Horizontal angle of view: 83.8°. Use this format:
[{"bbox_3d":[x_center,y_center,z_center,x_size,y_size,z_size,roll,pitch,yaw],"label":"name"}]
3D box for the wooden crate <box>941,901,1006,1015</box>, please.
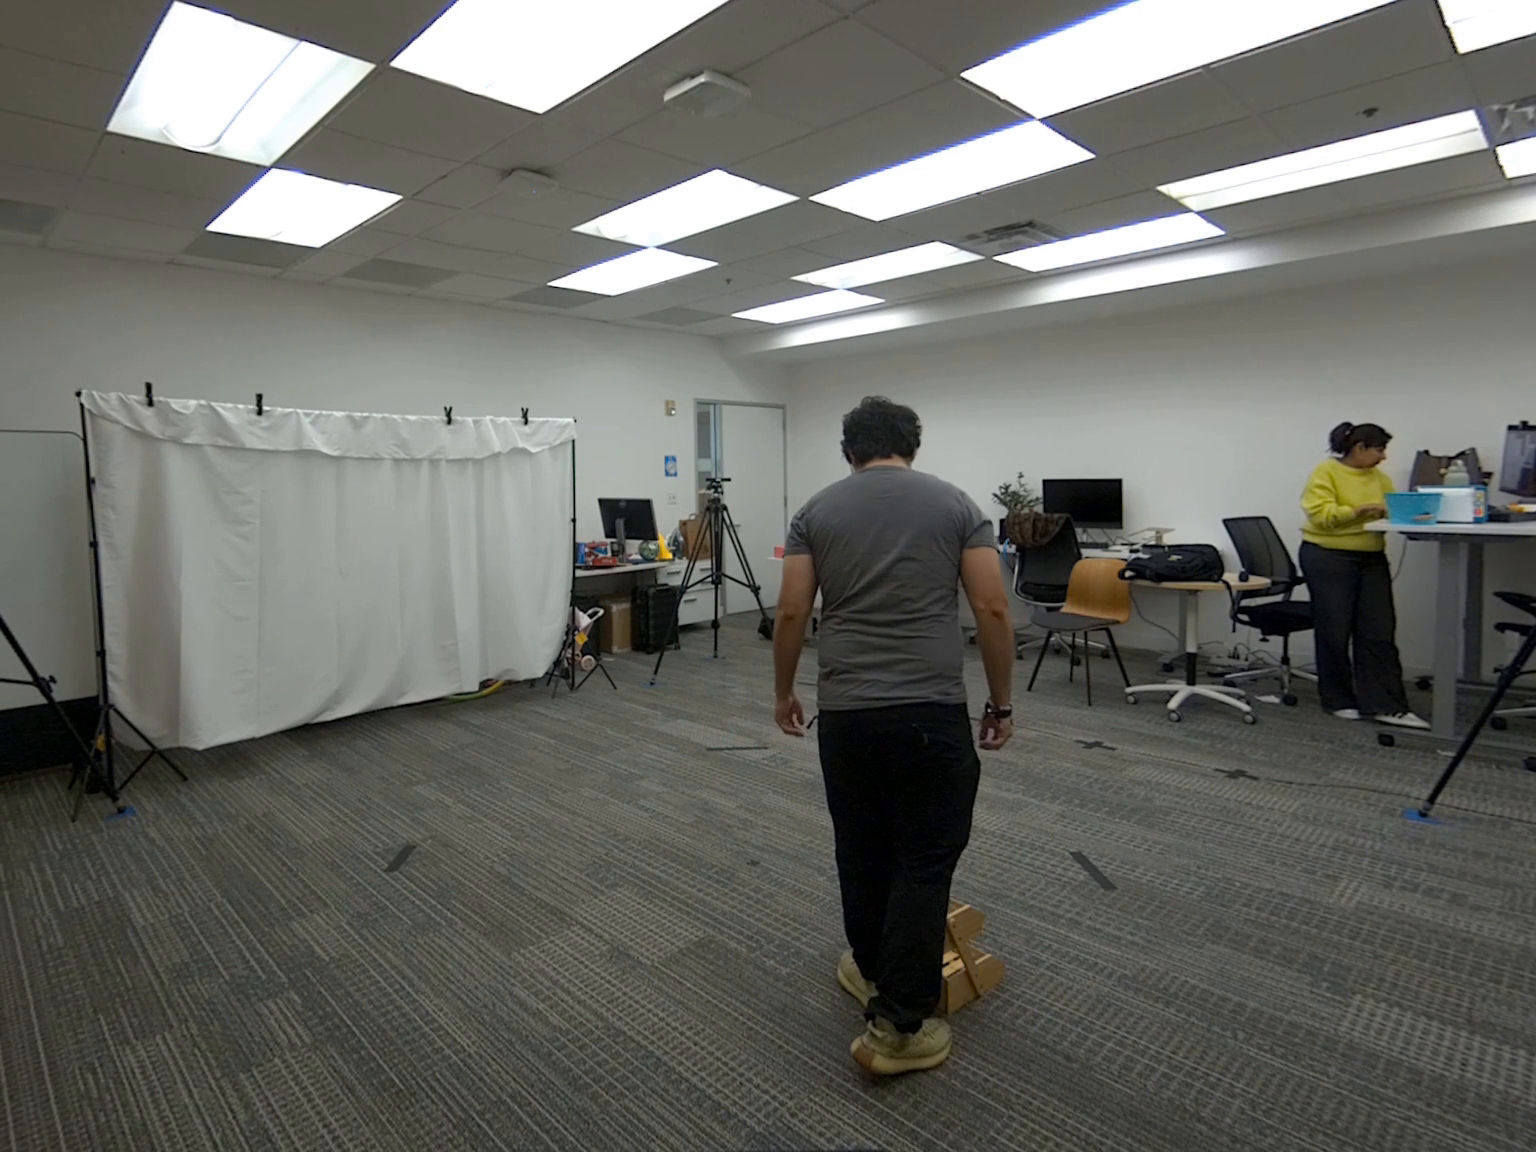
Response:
[{"bbox_3d":[0.458,0.985,2.382,0.294,0.272,0.334,-6,7,-39],"label":"wooden crate"}]
